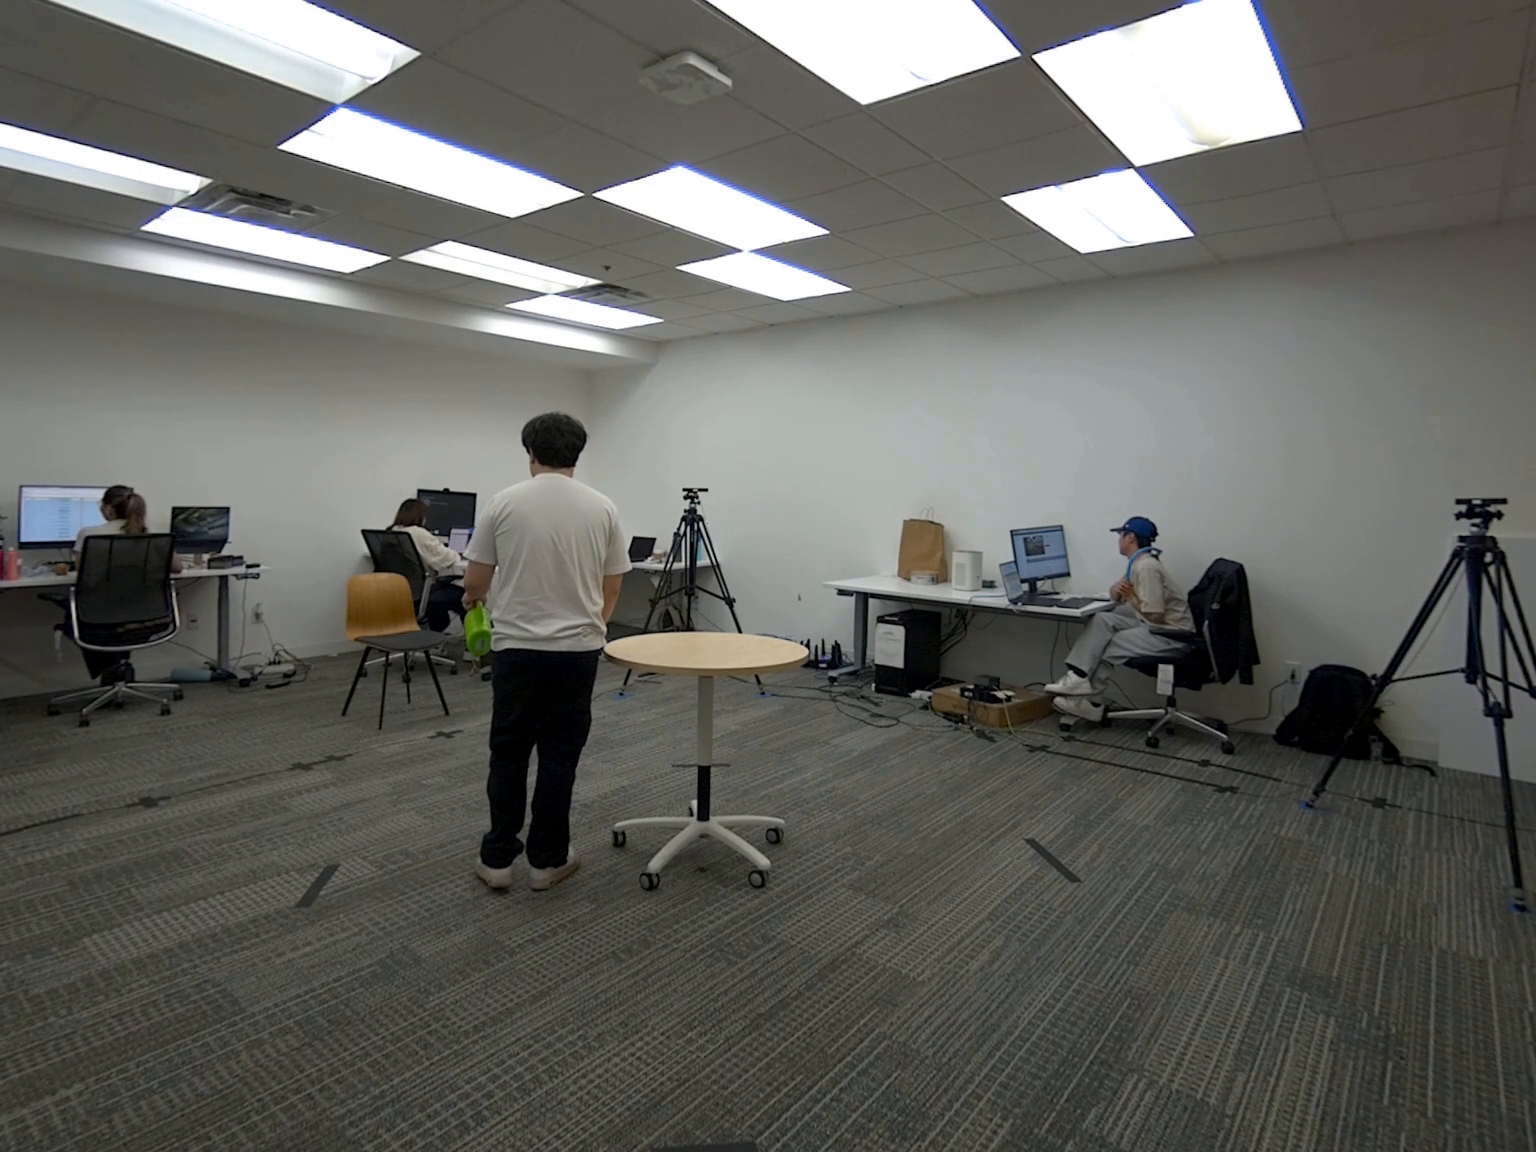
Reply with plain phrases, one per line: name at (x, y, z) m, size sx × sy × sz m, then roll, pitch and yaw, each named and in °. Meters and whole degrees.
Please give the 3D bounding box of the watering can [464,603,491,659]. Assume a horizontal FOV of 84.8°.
watering can at (-1.113, 0.229, 3.216) m, size 0.096 × 0.272 × 0.184 m, roll -5°, pitch 41°, yaw -19°
